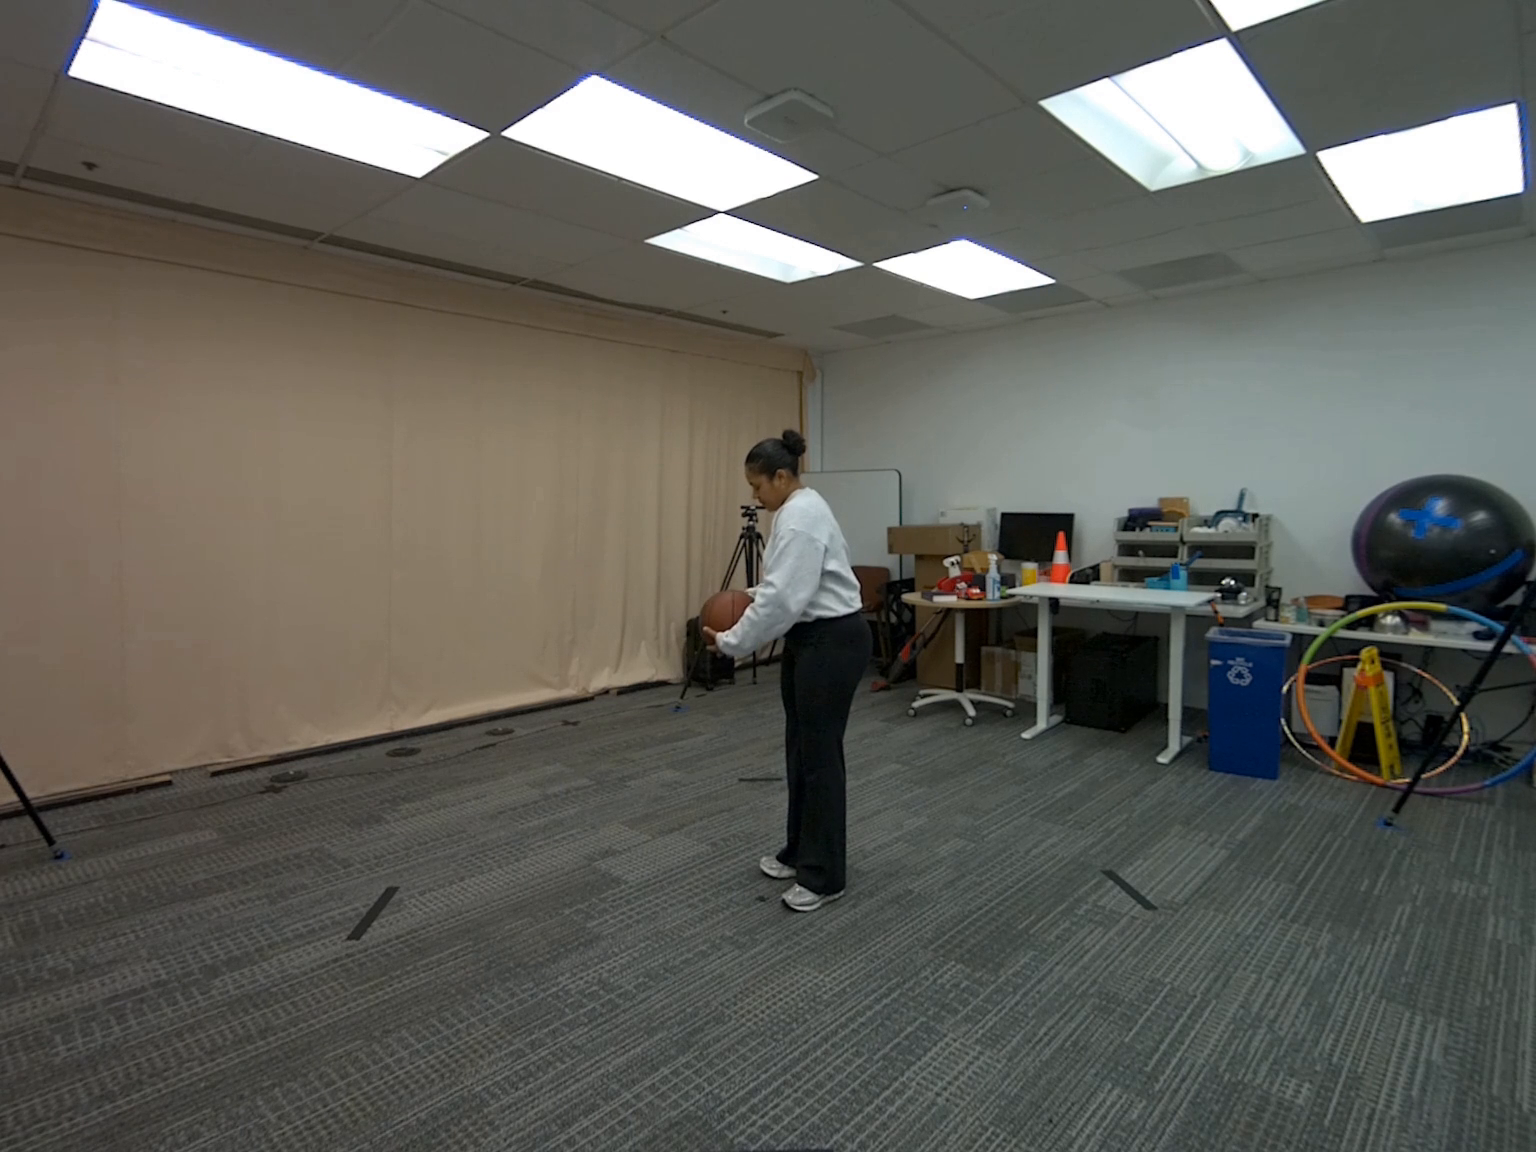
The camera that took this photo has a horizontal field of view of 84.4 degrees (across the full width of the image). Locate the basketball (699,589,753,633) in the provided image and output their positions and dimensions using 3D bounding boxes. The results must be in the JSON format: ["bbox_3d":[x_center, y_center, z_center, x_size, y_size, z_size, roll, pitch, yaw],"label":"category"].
[{"bbox_3d":[-0.105,0.153,3.067,0.236,0.235,0.237,0,4,-2],"label":"basketball"}]
